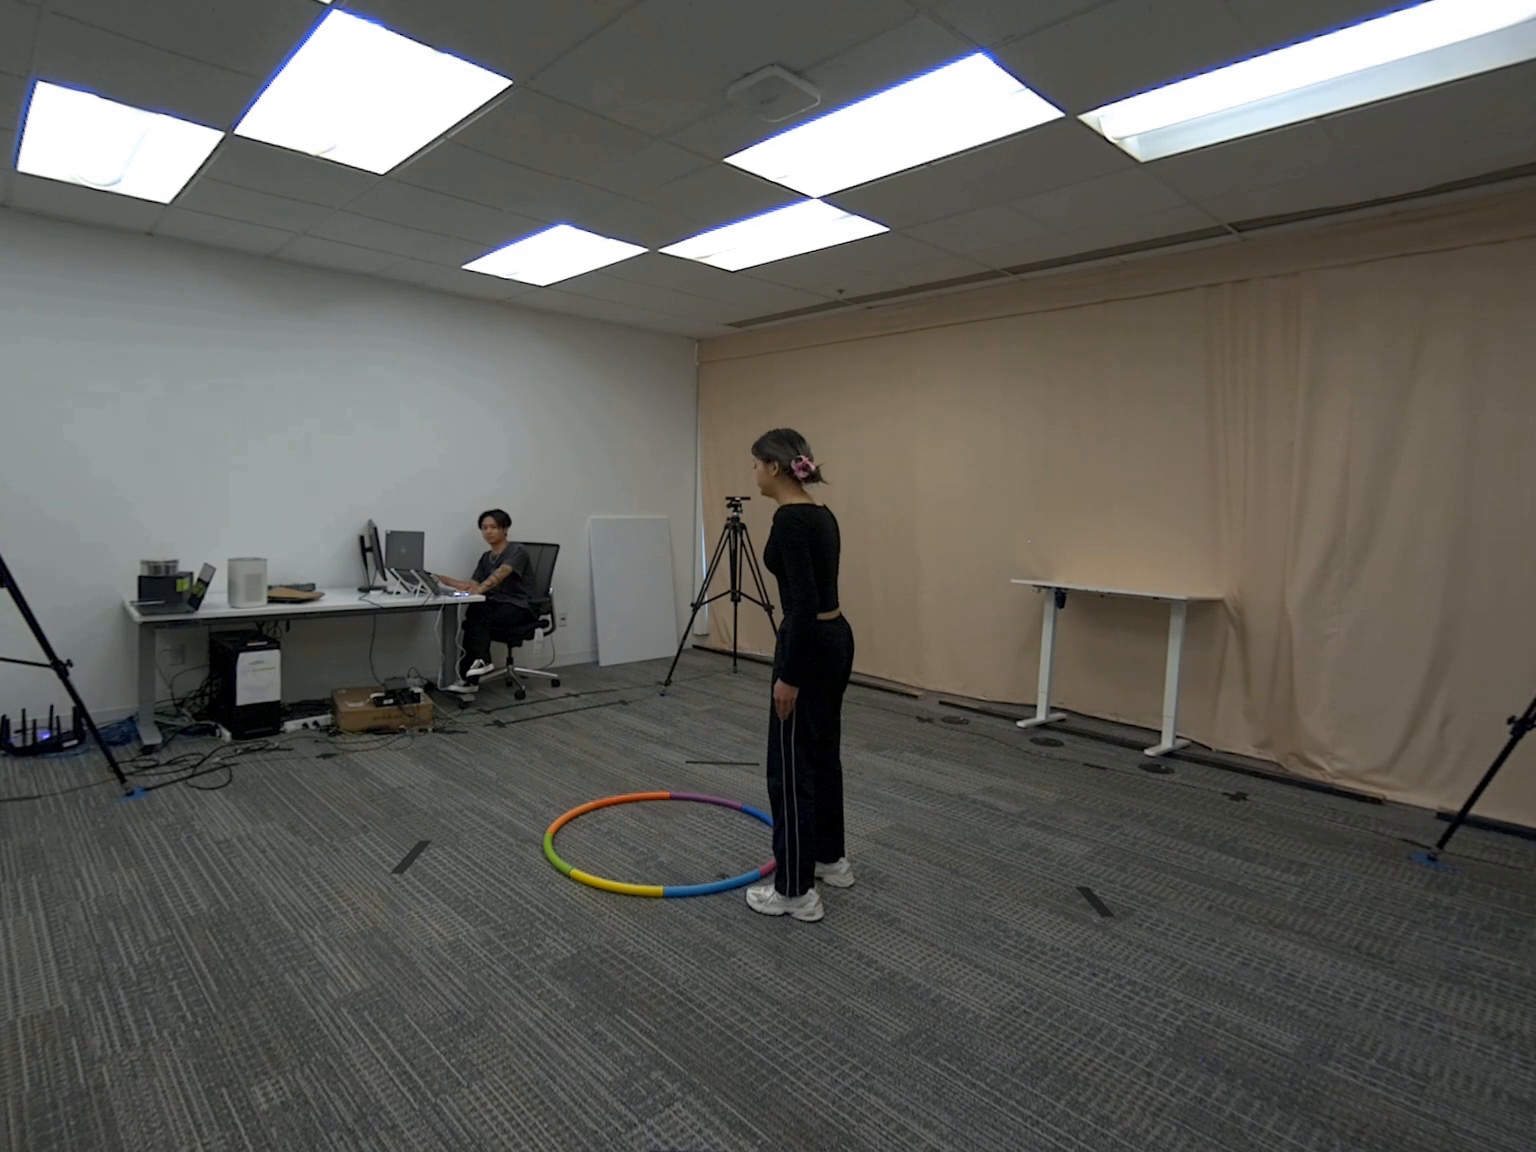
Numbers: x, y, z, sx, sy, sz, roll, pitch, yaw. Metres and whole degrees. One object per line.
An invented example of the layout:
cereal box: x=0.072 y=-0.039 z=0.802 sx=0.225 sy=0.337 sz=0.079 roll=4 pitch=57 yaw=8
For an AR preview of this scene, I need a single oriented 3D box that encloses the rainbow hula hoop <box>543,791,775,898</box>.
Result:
rainbow hula hoop: x=-0.415 y=1.045 z=3.407 sx=0.978 sy=0.035 sz=0.982 roll=2 pitch=5 yaw=-1
